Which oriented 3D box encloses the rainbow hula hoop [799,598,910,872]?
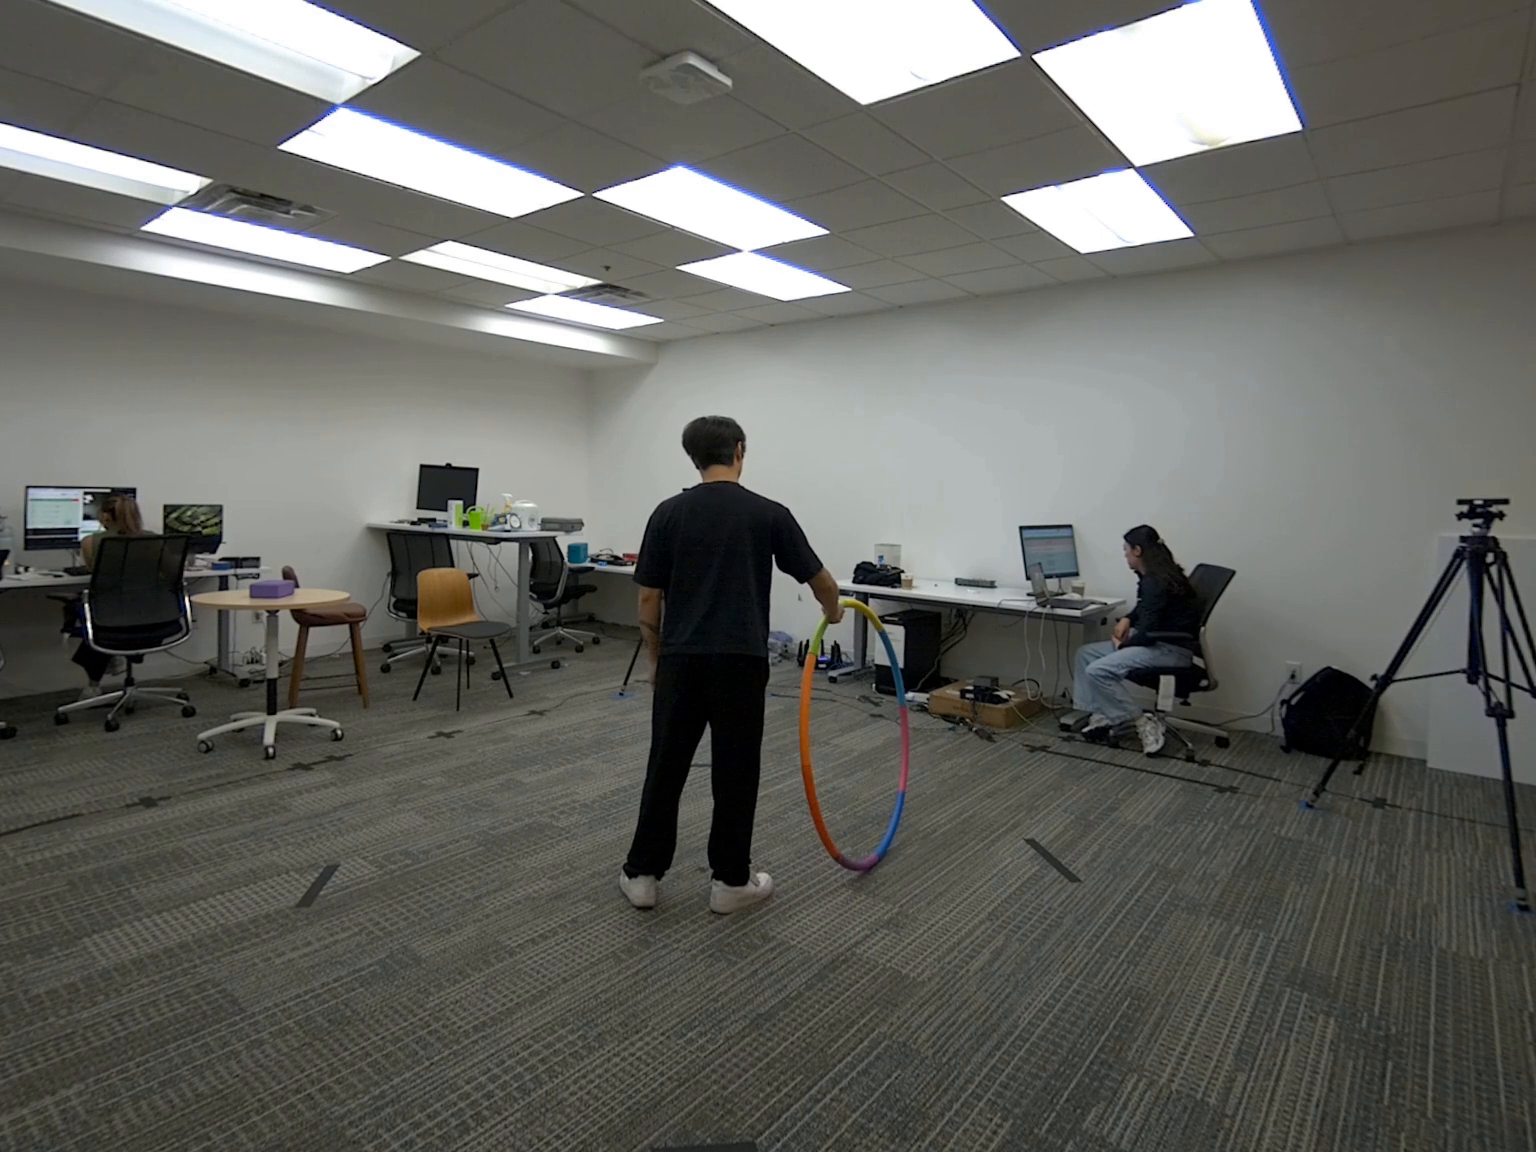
[{"bbox_3d":[0.345,0.581,3.224,0.036,0.981,0.953,-9,-2,30],"label":"rainbow hula hoop"}]
